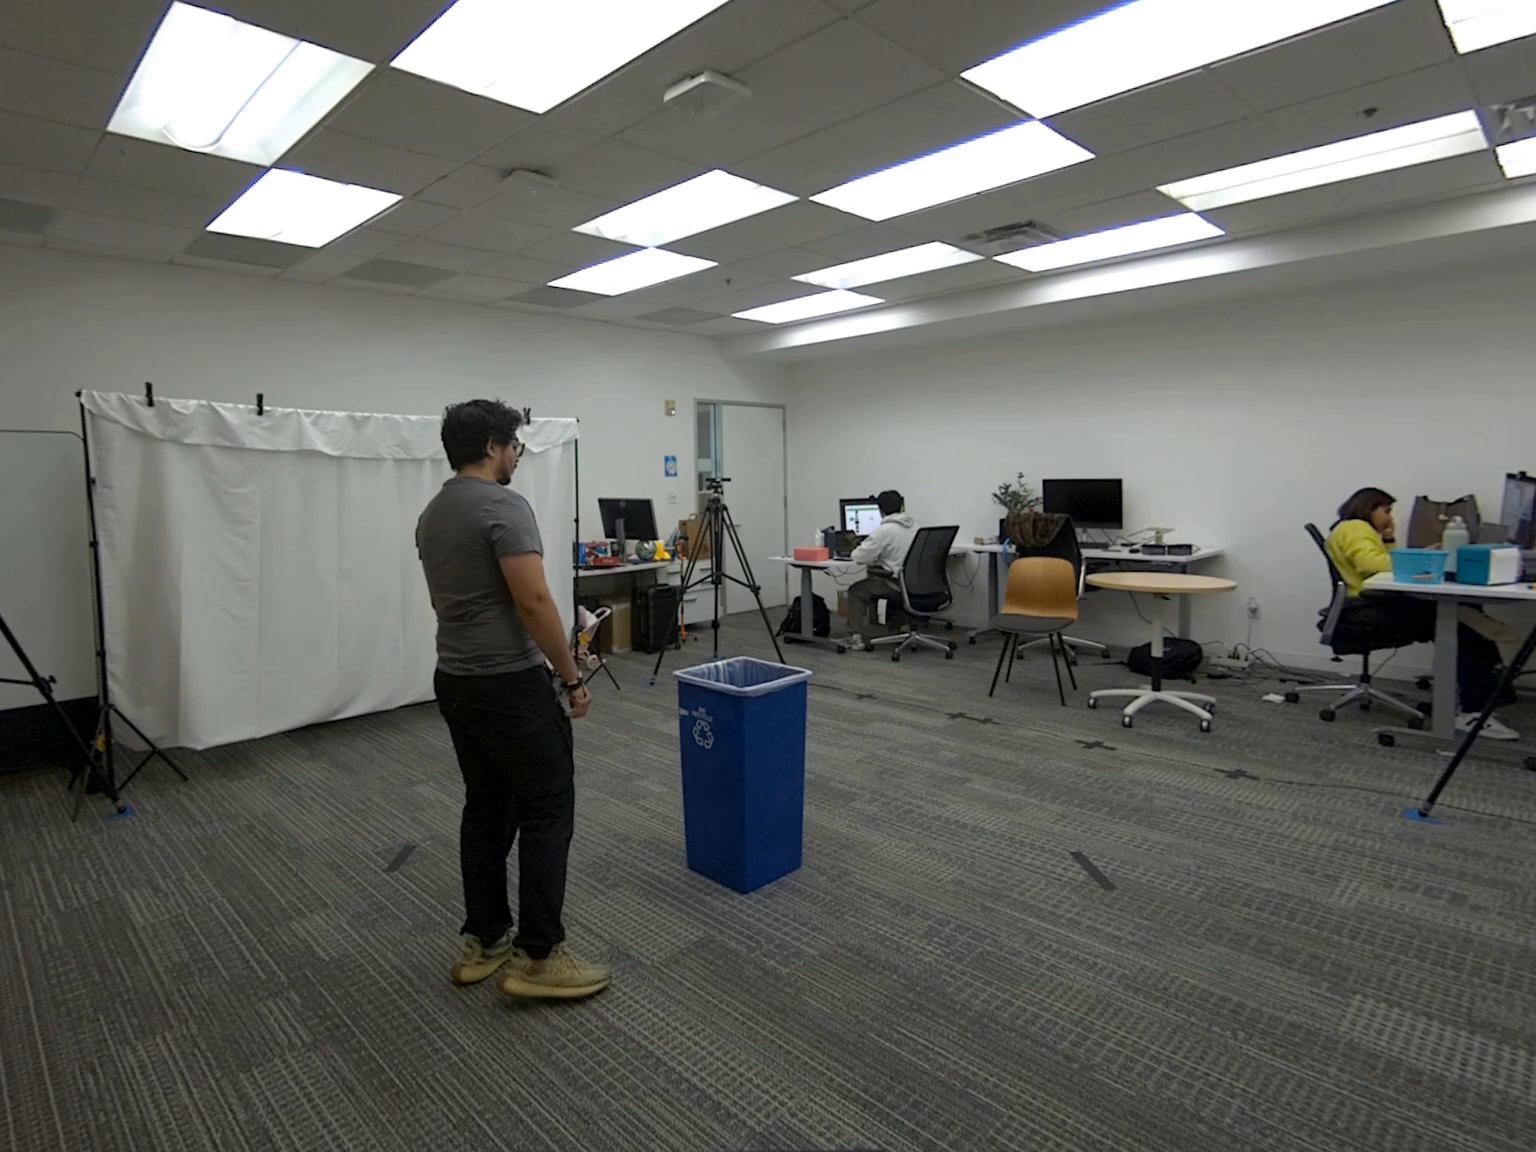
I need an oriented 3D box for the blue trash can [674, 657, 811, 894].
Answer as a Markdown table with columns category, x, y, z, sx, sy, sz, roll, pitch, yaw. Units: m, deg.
| category | x | y | z | sx | sy | sz | roll | pitch | yaw |
| --- | --- | --- | --- | --- | --- | --- | --- | --- | --- |
| blue trash can | -0.084 | 0.691 | 3.058 | 0.390 | 0.710 | 0.364 | 4 | 7 | 44 |
